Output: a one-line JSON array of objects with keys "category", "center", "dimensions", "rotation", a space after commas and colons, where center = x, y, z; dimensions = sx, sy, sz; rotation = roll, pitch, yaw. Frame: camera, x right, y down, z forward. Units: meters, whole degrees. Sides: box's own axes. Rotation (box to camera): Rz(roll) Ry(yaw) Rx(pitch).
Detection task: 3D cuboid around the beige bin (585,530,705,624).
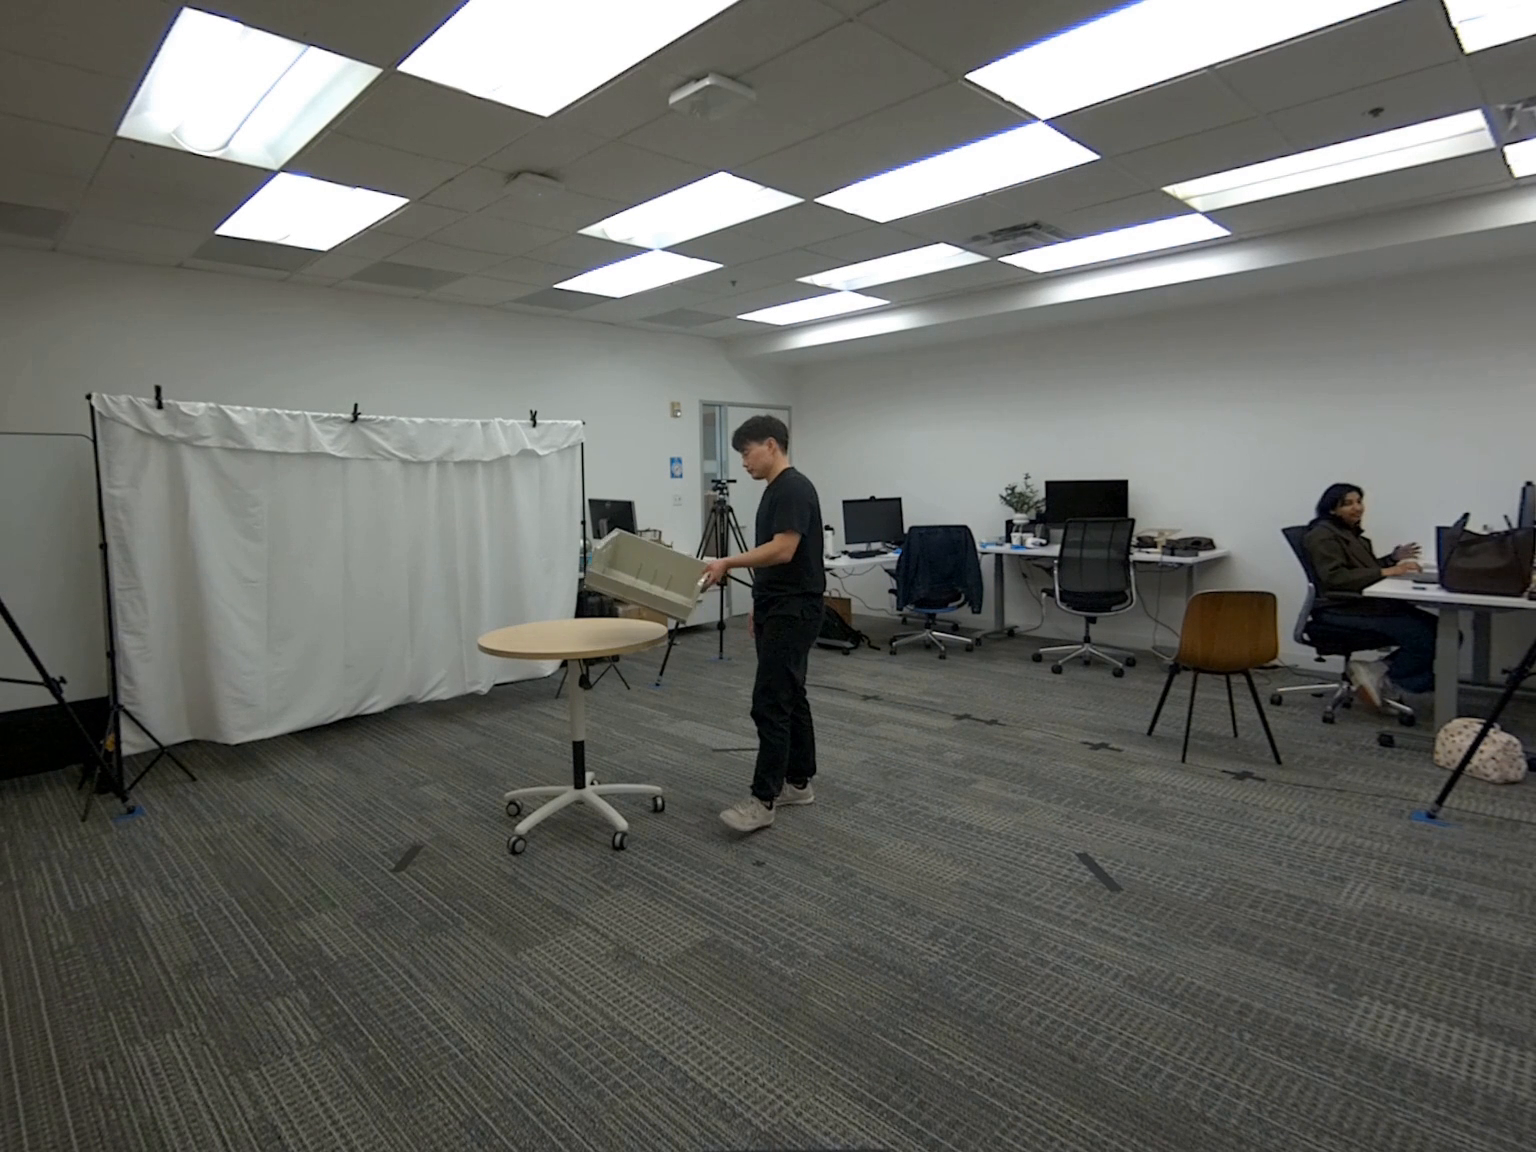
[{"category": "beige bin", "center": [-0.456, 0.003, 3.303], "dimensions": [0.423, 0.188, 0.379], "rotation": [19, 11, -1]}]
